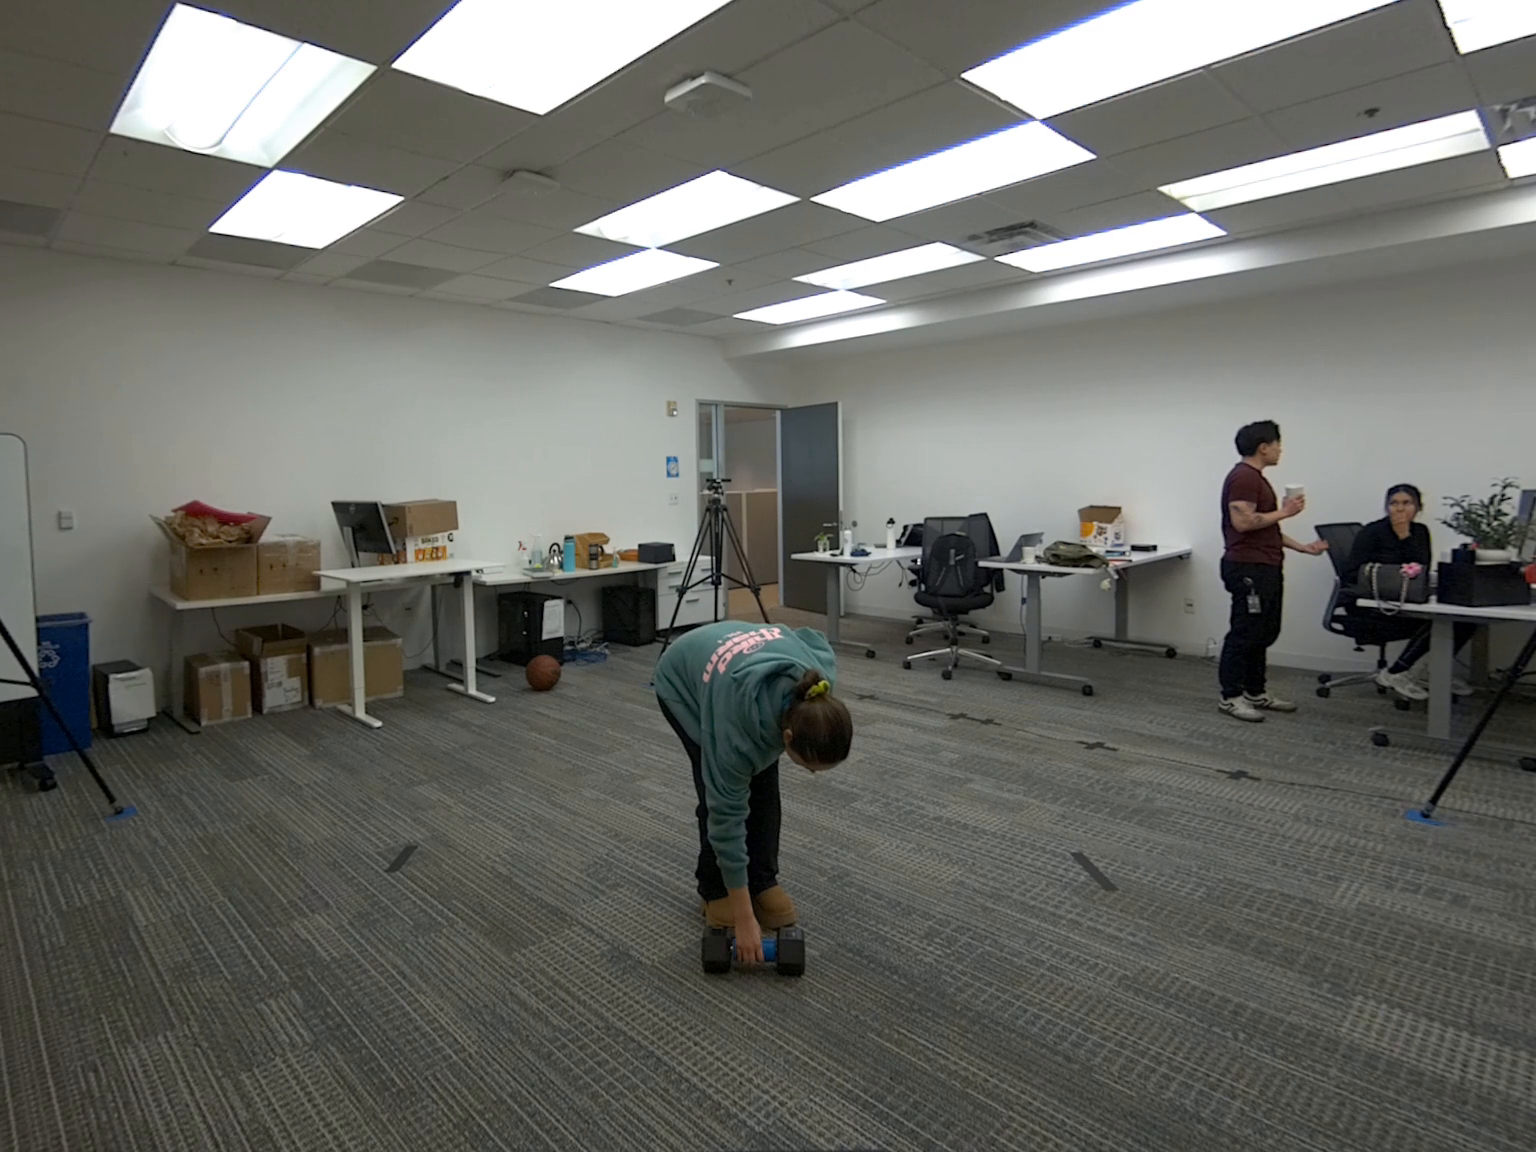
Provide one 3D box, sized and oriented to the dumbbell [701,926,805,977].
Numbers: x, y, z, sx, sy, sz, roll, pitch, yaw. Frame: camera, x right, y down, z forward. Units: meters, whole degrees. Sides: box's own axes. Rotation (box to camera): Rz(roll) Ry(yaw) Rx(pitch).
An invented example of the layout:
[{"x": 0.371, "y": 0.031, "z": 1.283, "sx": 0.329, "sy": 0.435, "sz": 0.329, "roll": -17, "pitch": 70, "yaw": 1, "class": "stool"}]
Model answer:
[{"x": -0.042, "y": 1.073, "z": 2.441, "sx": 0.295, "sy": 0.125, "sz": 0.106, "roll": -1, "pitch": -26, "yaw": 4, "class": "dumbbell"}]
